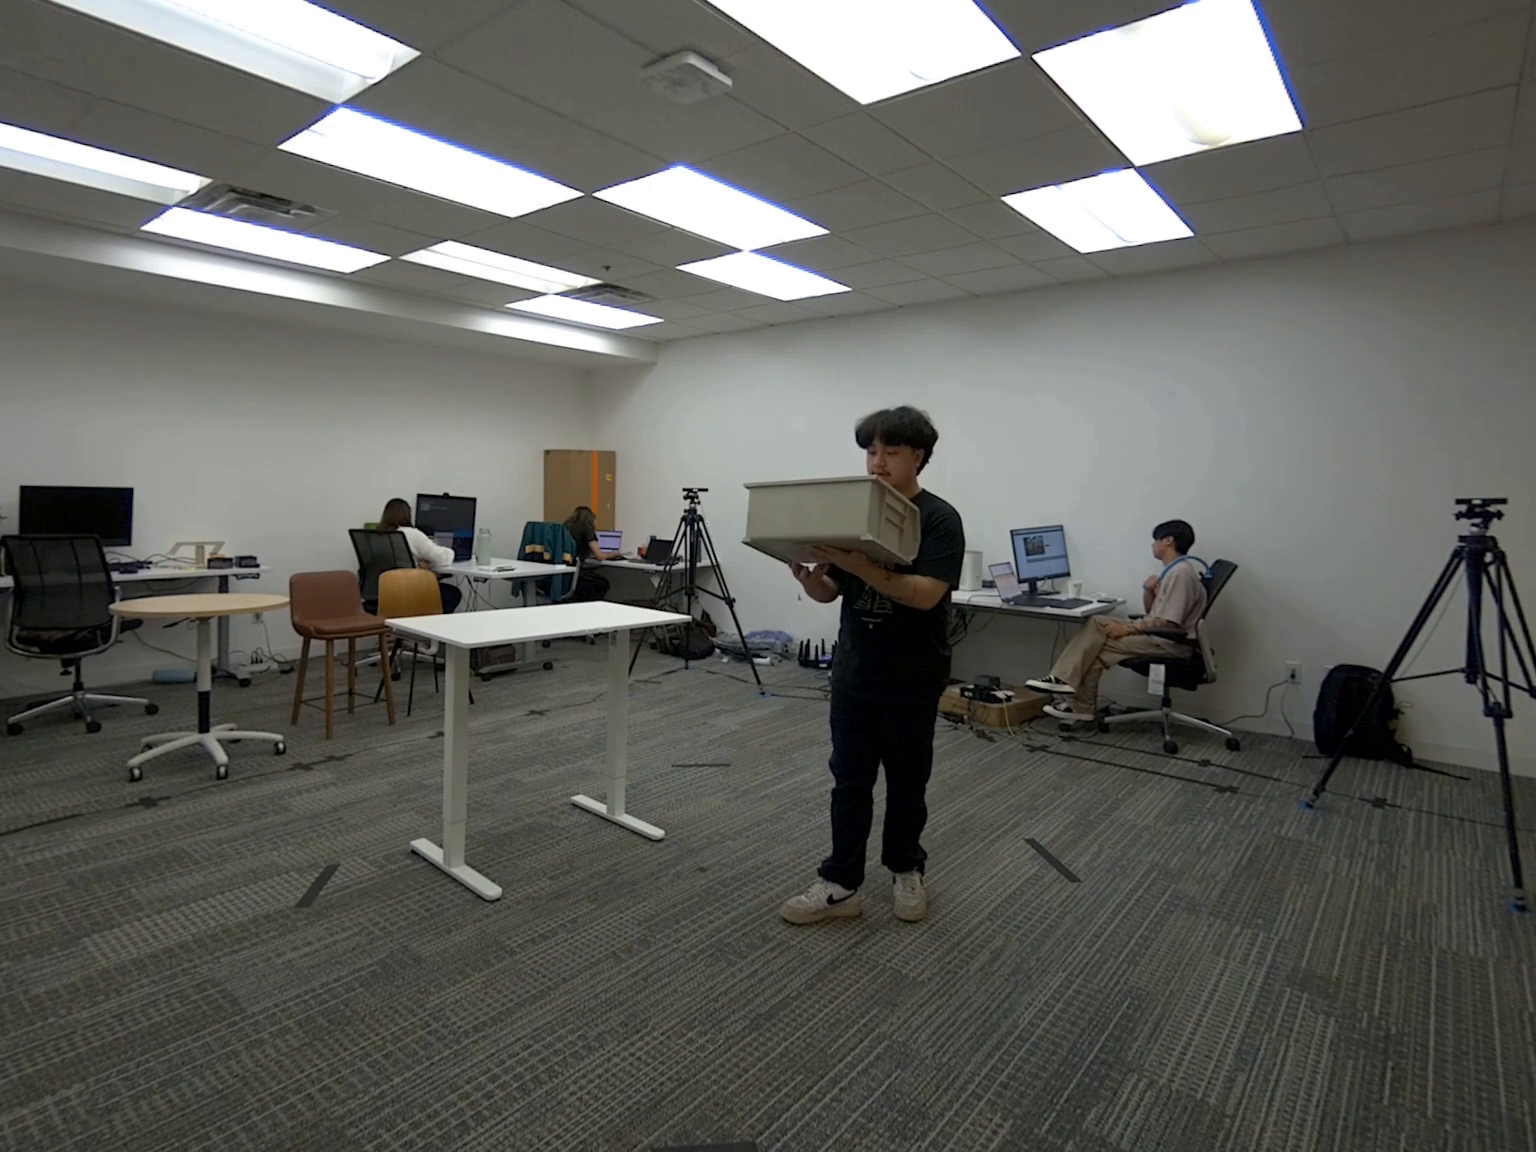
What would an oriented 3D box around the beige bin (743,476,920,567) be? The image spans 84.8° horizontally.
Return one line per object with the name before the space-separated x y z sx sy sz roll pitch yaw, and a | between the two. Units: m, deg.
beige bin | 0.181 -0.148 2.543 0.435 0.191 0.363 0 -12 32
